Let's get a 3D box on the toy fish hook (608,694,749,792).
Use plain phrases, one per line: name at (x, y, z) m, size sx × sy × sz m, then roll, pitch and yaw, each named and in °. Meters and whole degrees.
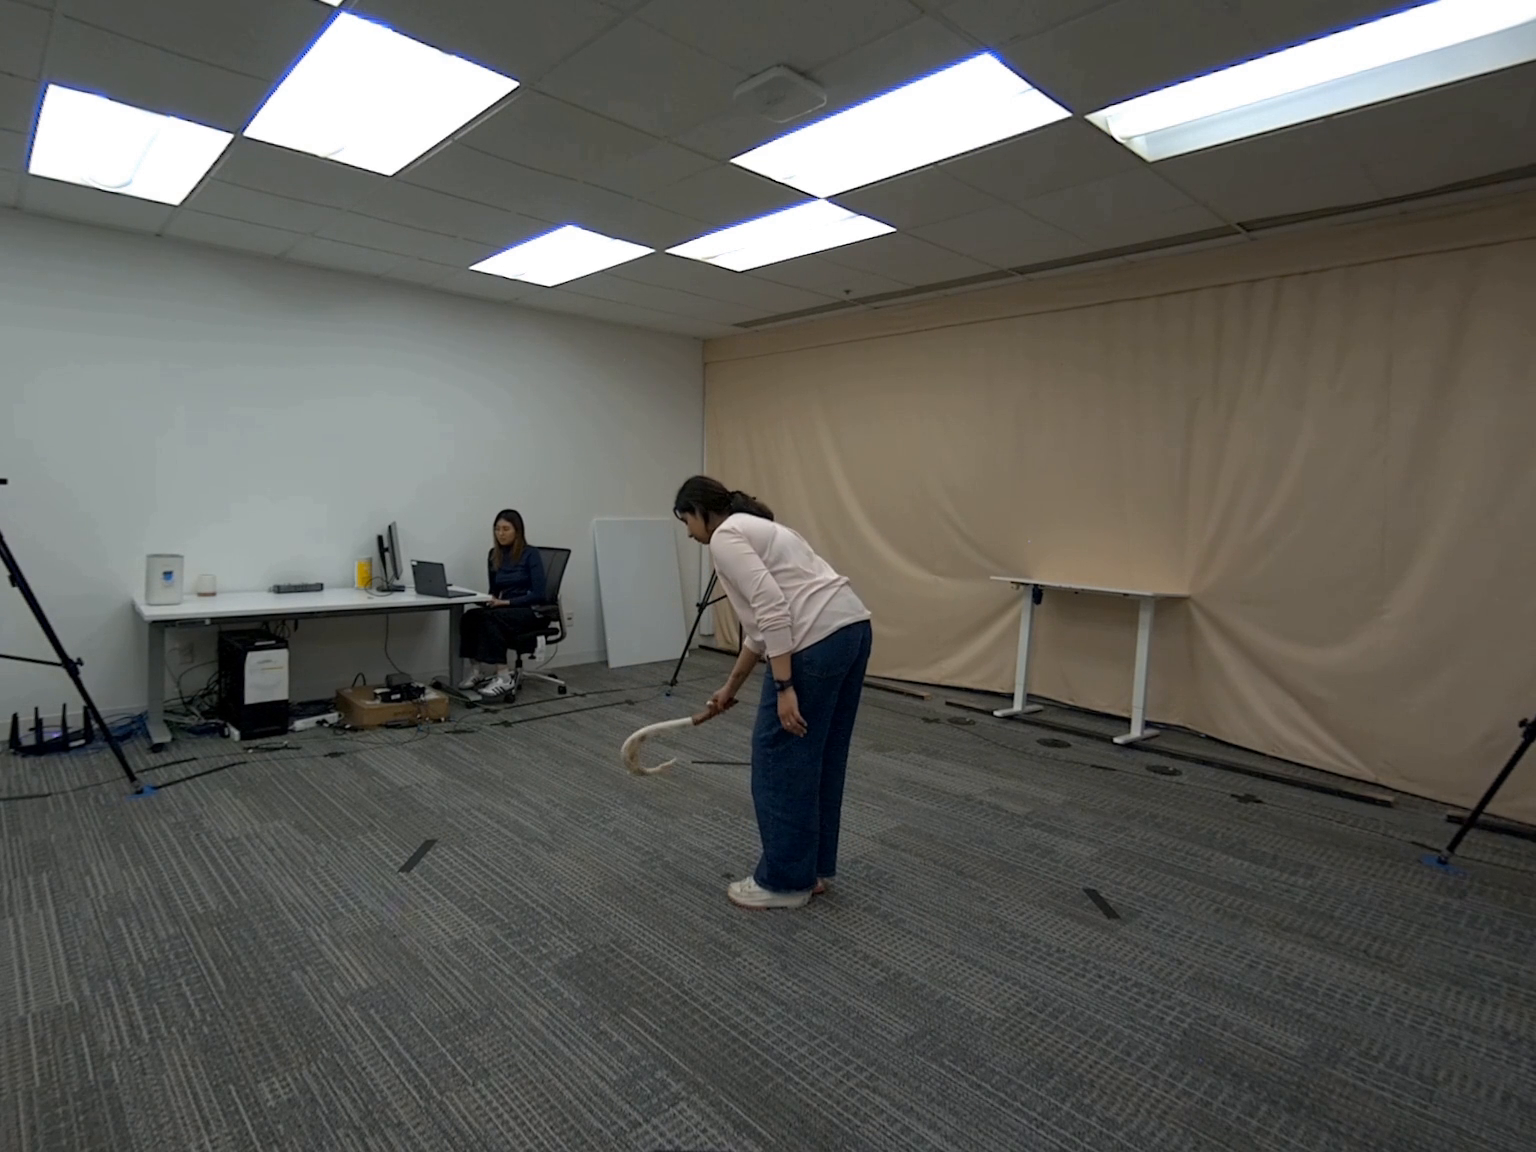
toy fish hook at (-0.344, 0.633, 3.293) m, size 0.504 × 0.220 × 0.049 m, roll -22°, pitch 27°, yaw -12°
